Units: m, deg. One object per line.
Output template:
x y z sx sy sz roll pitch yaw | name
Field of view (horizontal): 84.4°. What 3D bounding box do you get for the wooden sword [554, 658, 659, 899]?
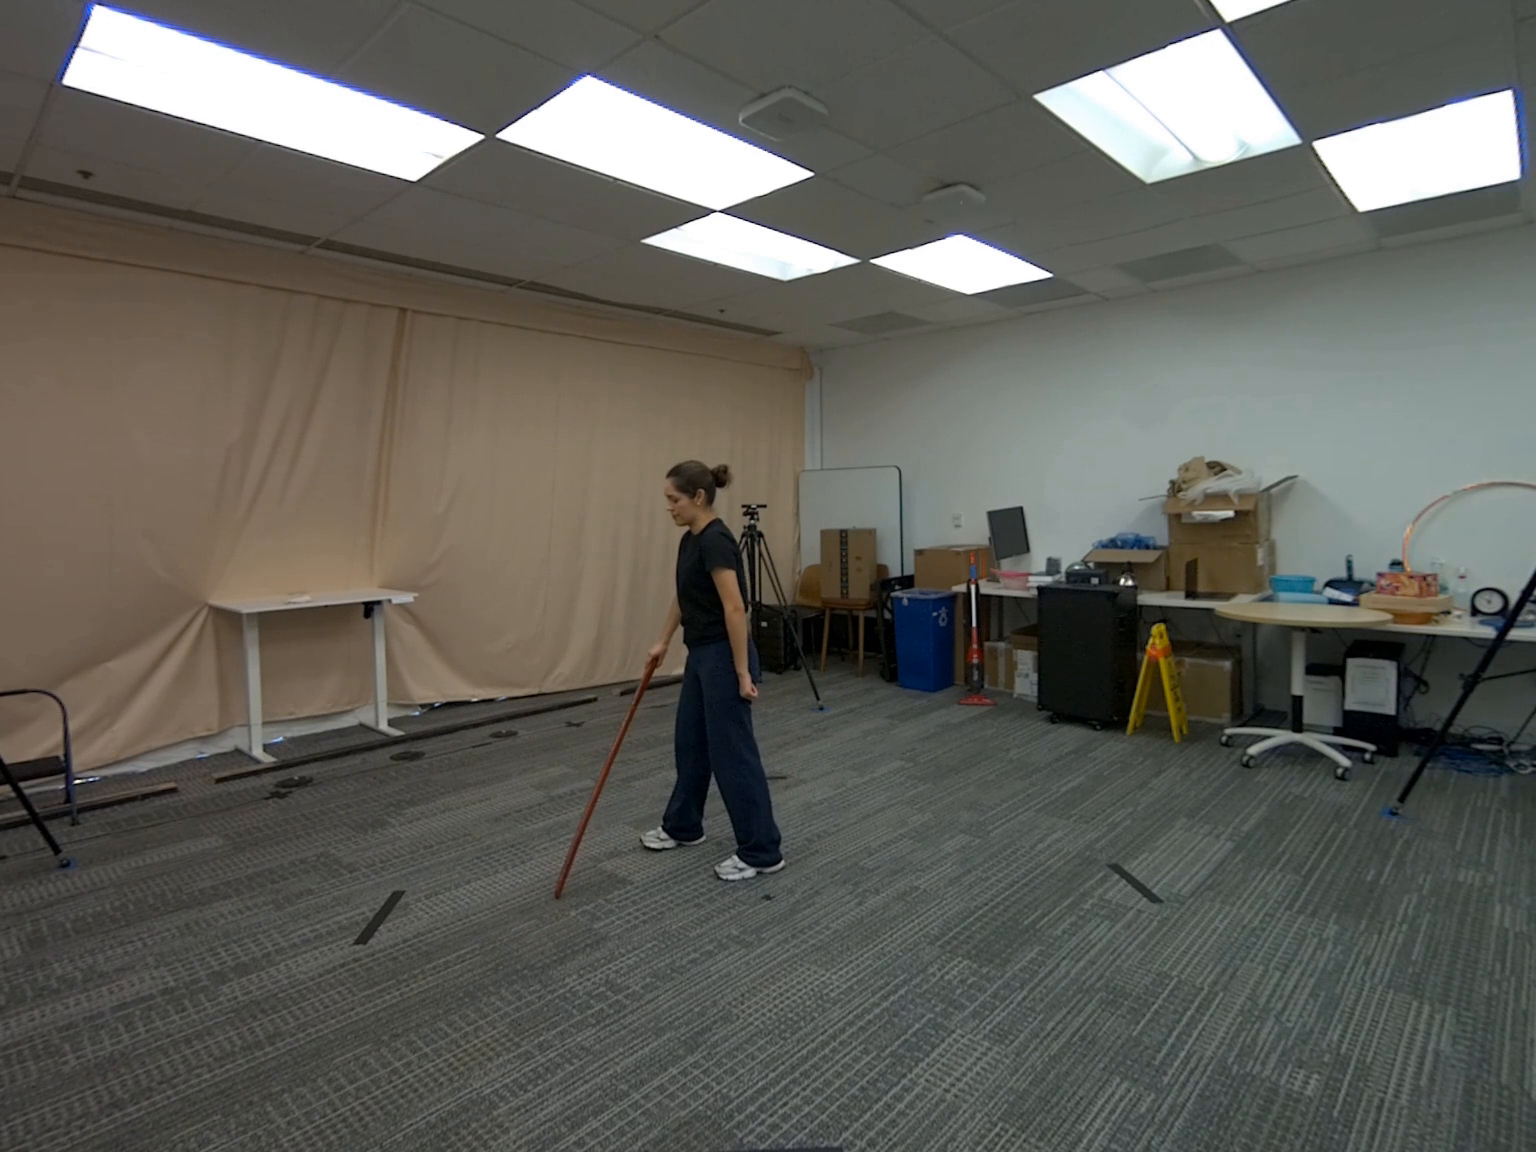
-0.602 0.728 3.257 0.050 1.031 0.024 29 -32 -17 | wooden sword
